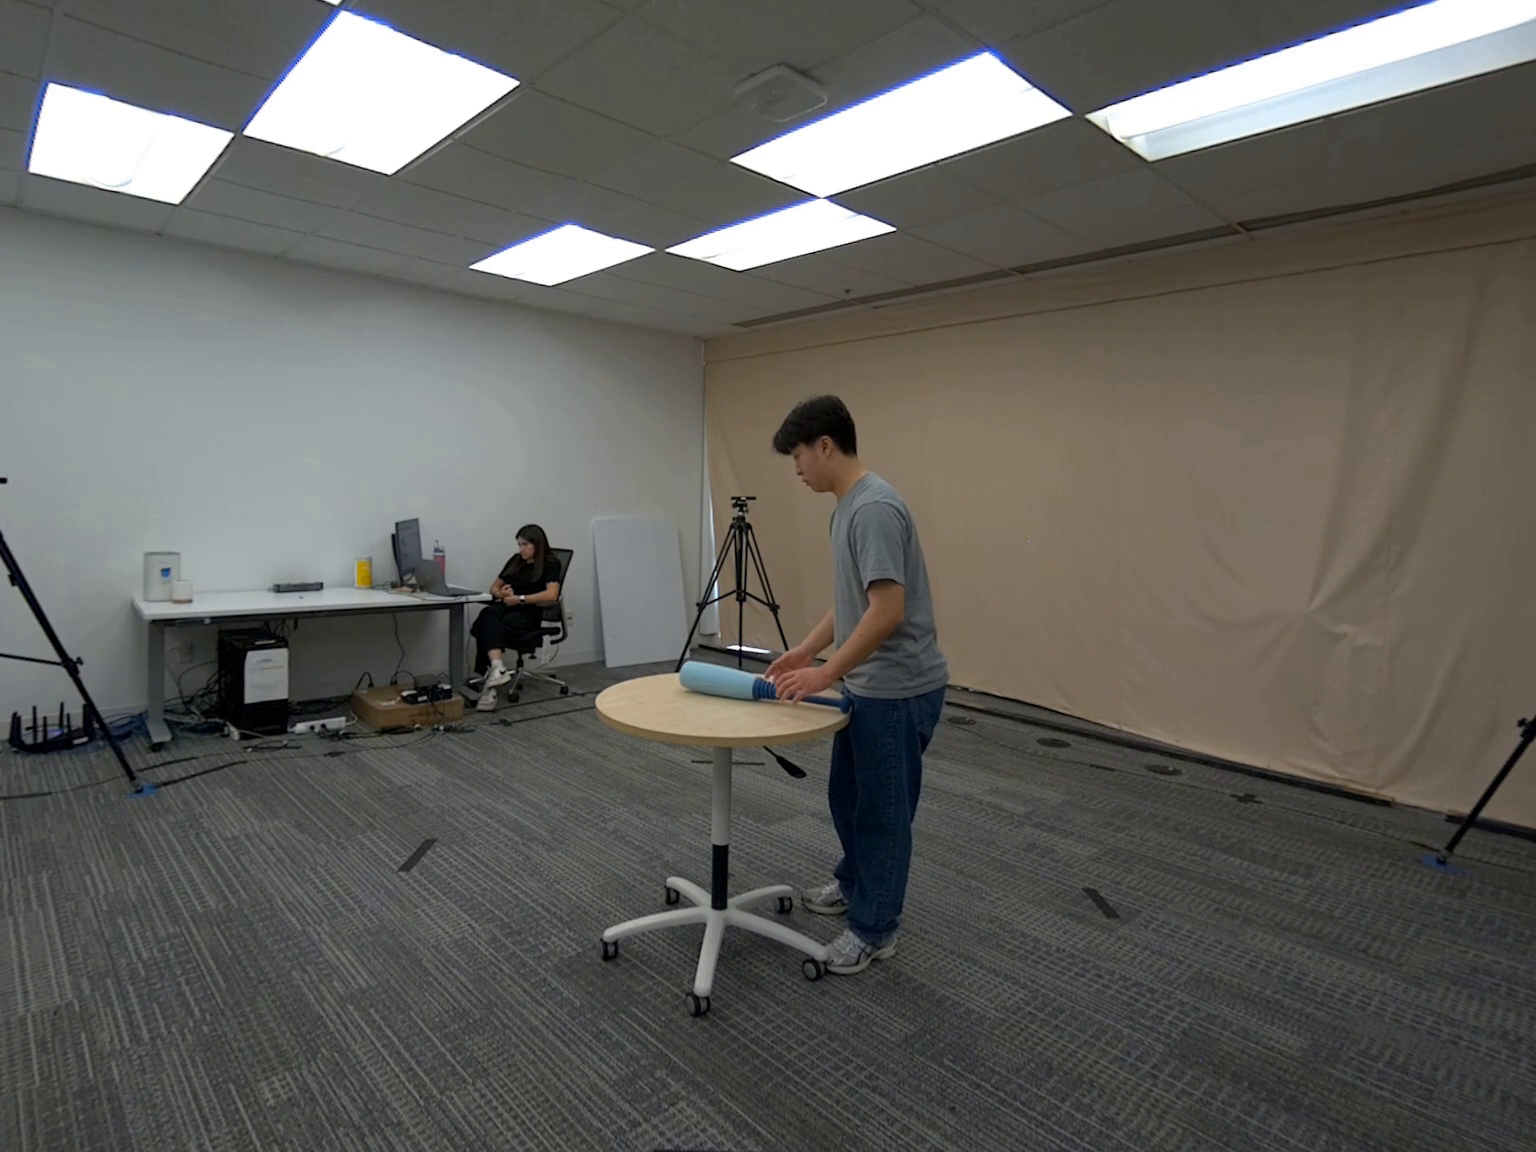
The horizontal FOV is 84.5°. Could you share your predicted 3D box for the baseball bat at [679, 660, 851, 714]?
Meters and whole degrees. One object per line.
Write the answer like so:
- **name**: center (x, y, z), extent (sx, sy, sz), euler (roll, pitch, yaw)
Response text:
- **baseball bat**: center (-0.010, 0.342, 2.529), extent (0.553, 0.089, 0.088), euler (6, 6, 21)
